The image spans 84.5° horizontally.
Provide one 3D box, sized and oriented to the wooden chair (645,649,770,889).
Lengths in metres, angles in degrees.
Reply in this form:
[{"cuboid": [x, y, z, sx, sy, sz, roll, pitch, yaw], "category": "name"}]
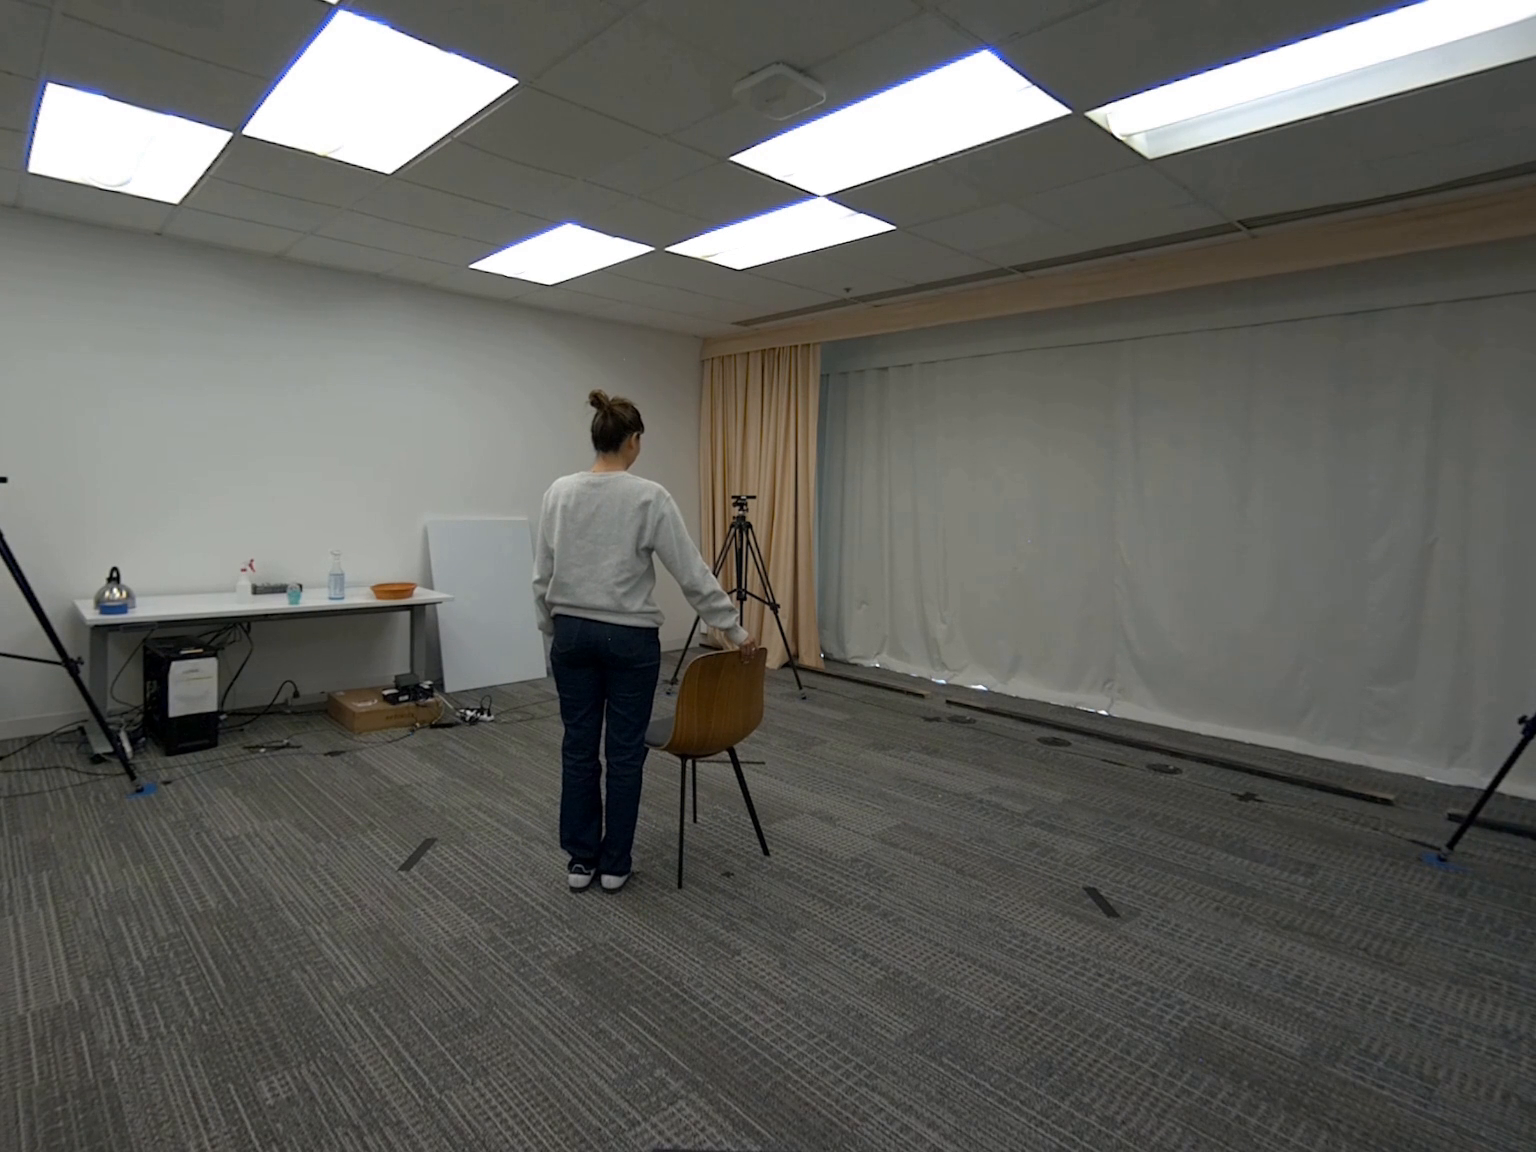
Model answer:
[{"cuboid": [-0.308, 0.658, 3.268, 0.467, 0.873, 0.537, -2, 9, -43], "category": "wooden chair"}]
